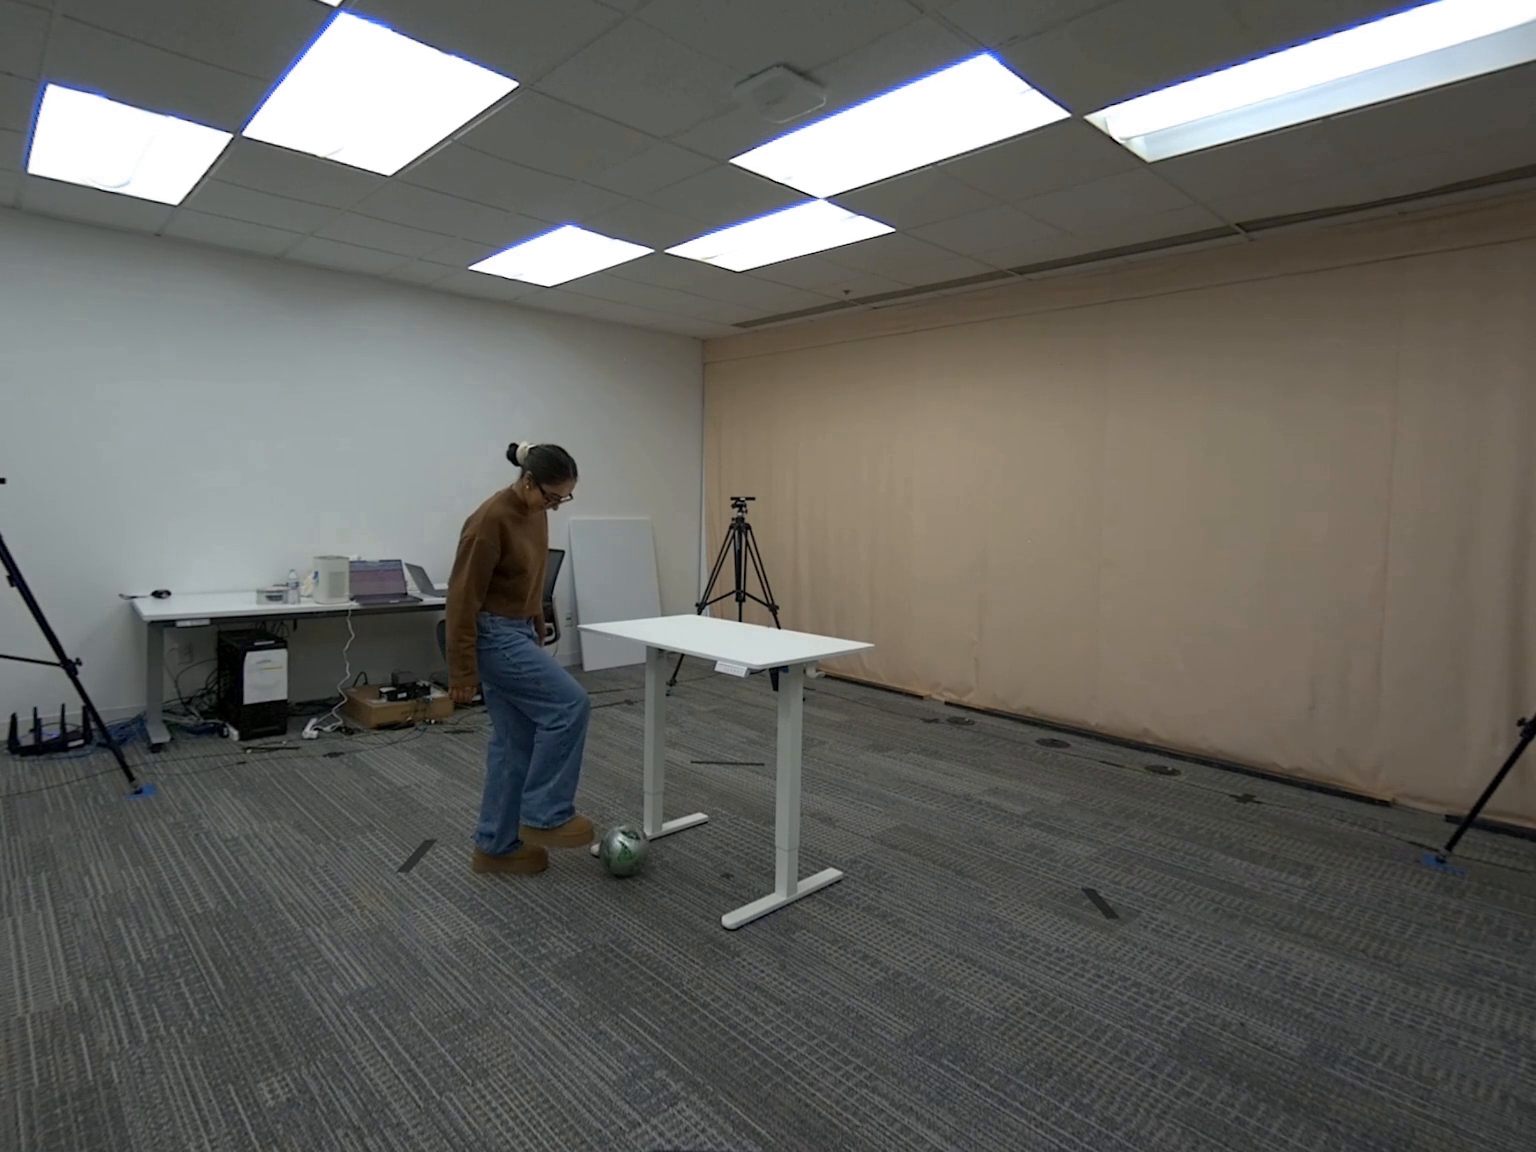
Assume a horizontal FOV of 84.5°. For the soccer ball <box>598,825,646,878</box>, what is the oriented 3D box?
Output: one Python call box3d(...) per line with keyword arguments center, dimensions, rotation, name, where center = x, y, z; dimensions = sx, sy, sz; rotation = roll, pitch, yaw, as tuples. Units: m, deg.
box3d(center=(-0.551, 1.014, 3.088), dimensions=(0.187, 0.187, 0.188), rotation=(1, 4, -1), name="soccer ball")
